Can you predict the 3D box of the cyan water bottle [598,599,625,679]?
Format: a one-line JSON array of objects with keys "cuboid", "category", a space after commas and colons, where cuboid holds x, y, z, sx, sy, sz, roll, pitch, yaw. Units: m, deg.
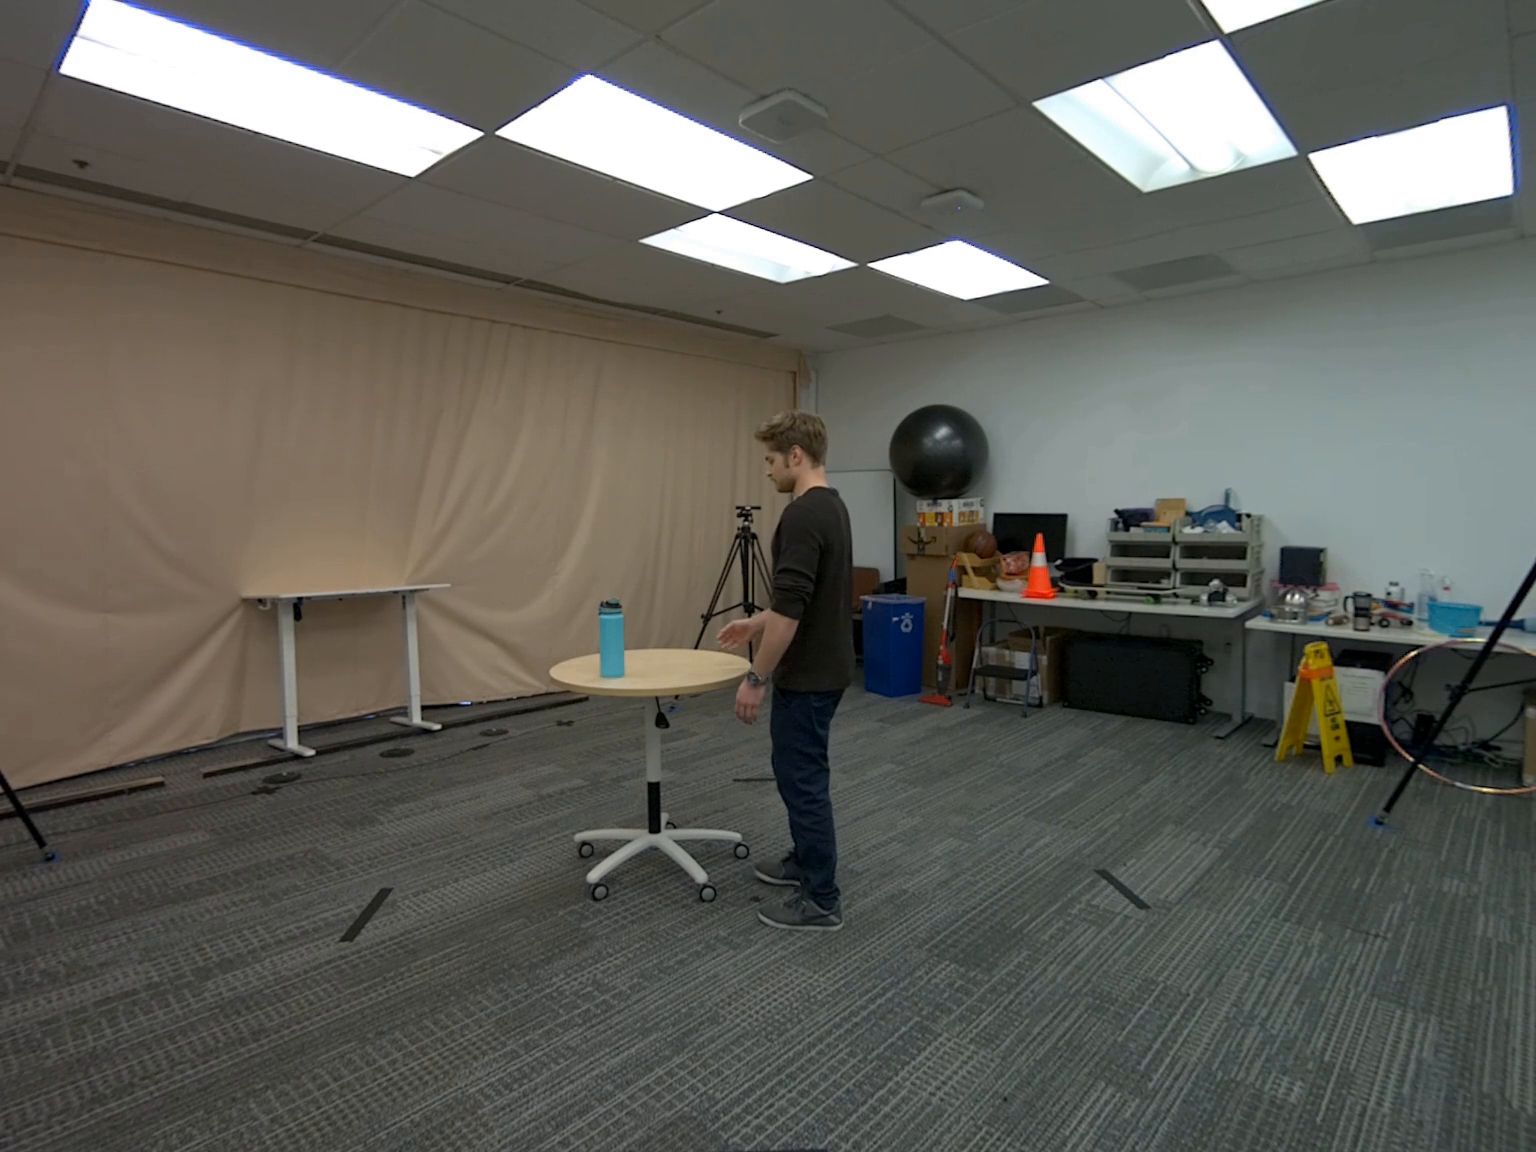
[{"cuboid": [-0.564, 0.224, 3.052, 0.092, 0.283, 0.092, -2, 1, -2], "category": "cyan water bottle"}]
